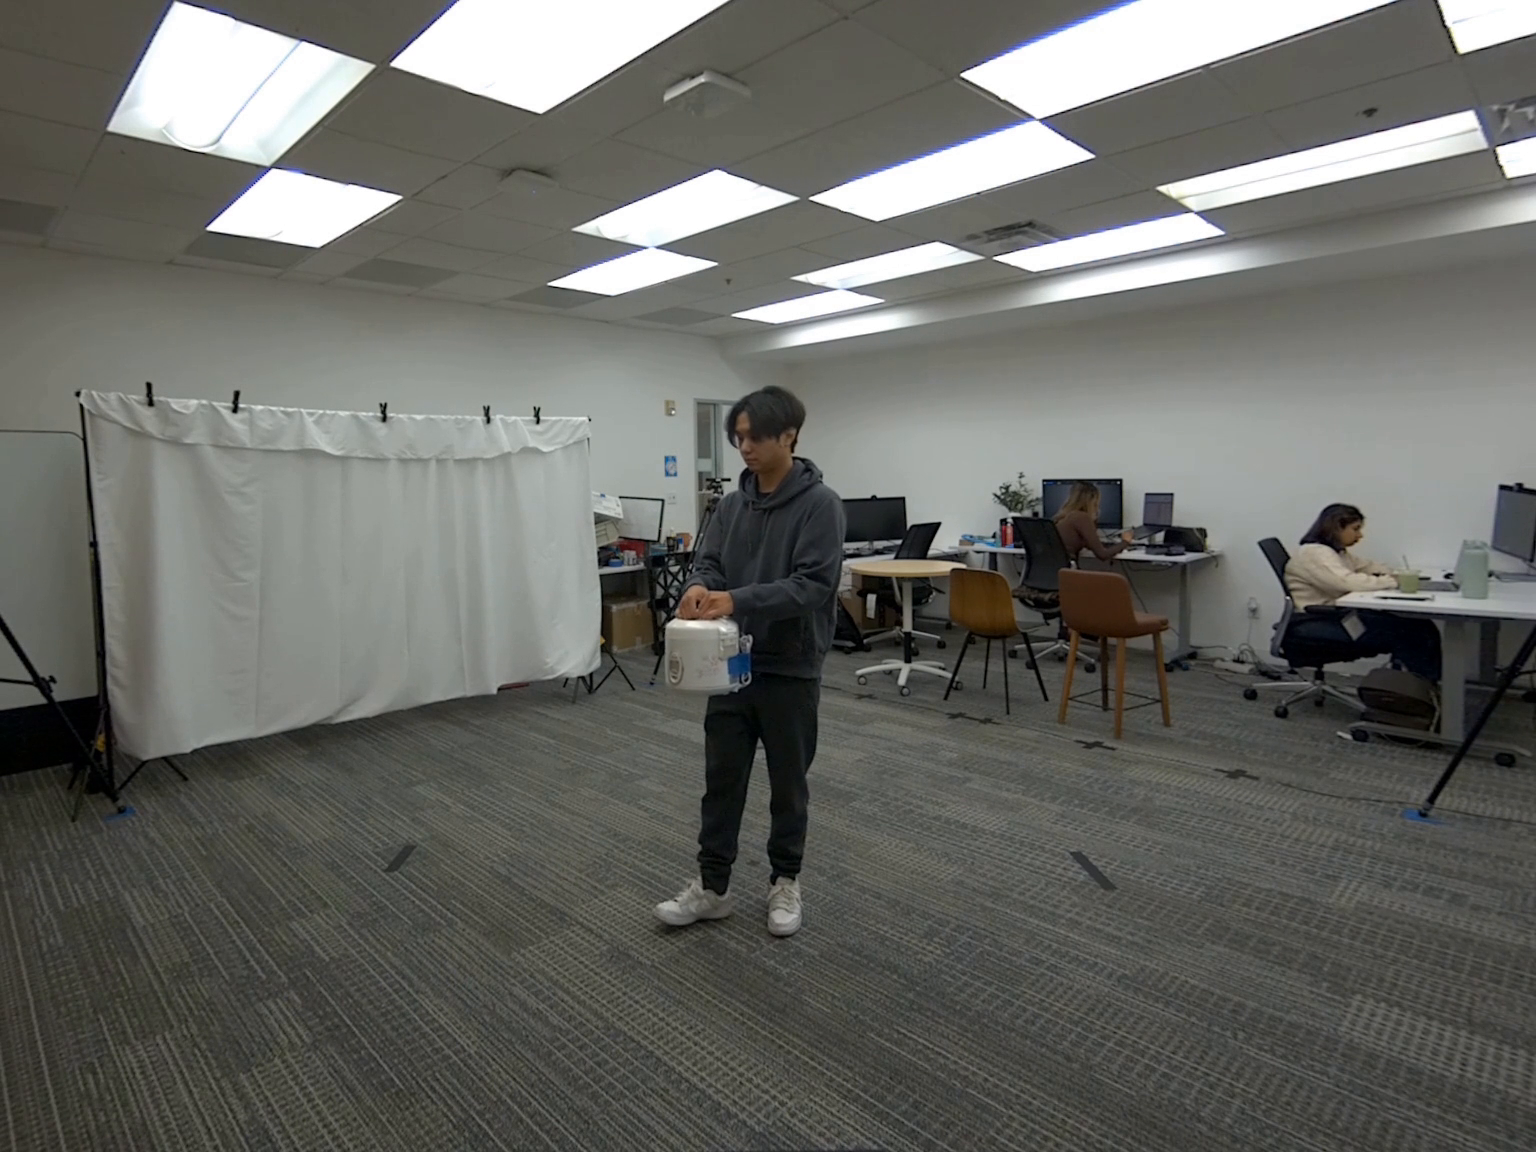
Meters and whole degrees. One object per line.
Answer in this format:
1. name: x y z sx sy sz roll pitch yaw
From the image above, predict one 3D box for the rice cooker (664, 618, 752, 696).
1. rice cooker: -0.184 0.212 2.400 0.227 0.233 0.211 0 0 43
